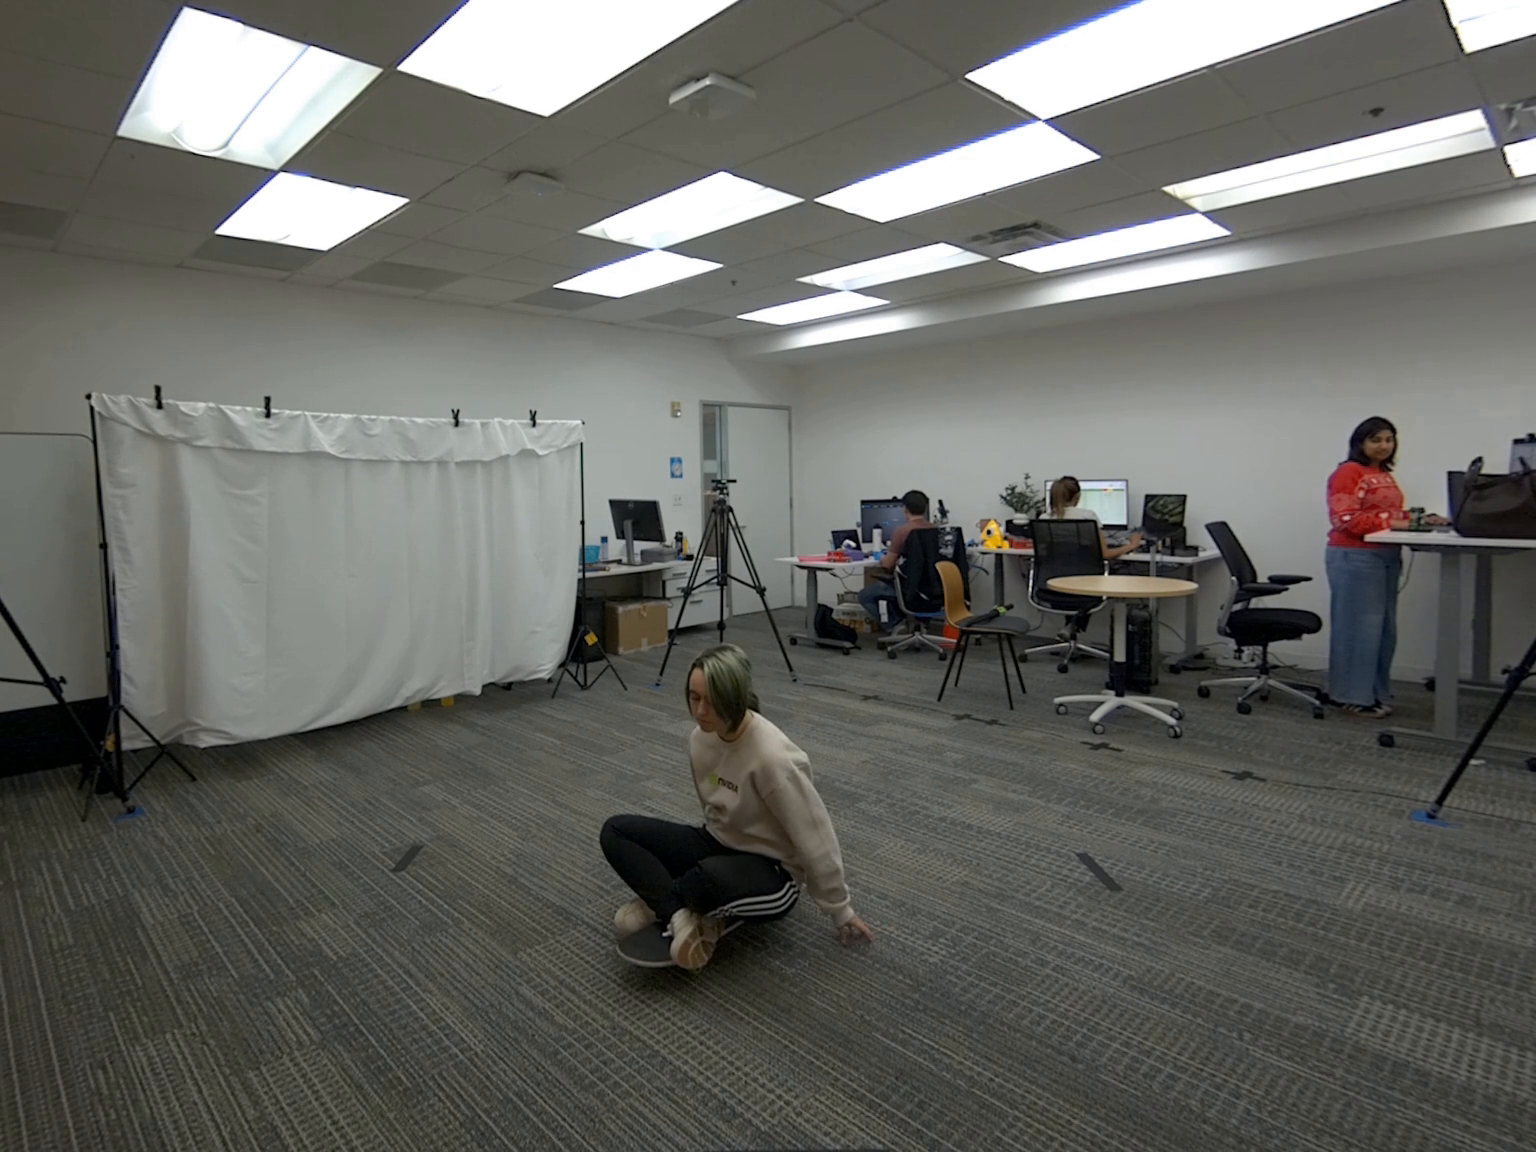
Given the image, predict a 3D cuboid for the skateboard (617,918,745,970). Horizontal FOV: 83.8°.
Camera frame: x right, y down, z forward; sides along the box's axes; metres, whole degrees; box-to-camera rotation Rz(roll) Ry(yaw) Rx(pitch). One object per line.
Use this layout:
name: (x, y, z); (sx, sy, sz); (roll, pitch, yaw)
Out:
skateboard: (-0.145, 1.053, 2.616); (0.199, 0.110, 0.765); (6, 7, 36)
